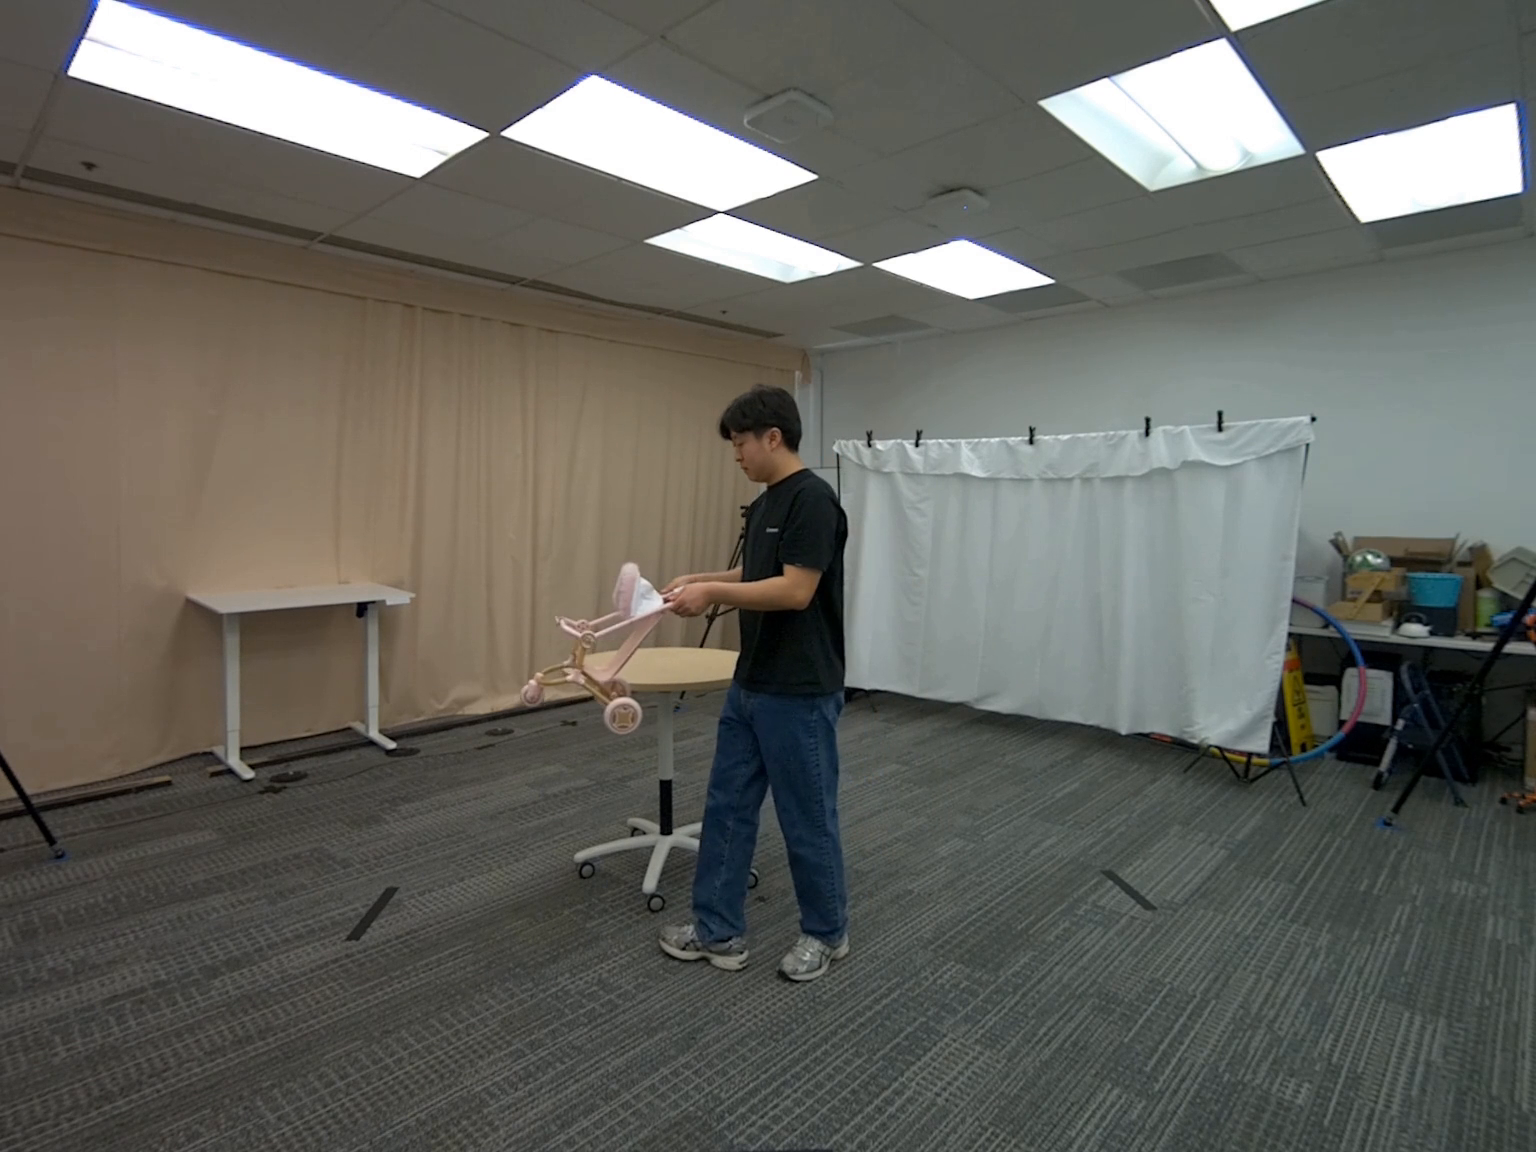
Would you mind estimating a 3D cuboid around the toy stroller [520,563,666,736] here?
[{"bbox_3d":[-0.464,0.200,2.471,0.336,0.535,0.285,28,-2,-12],"label":"toy stroller"}]
